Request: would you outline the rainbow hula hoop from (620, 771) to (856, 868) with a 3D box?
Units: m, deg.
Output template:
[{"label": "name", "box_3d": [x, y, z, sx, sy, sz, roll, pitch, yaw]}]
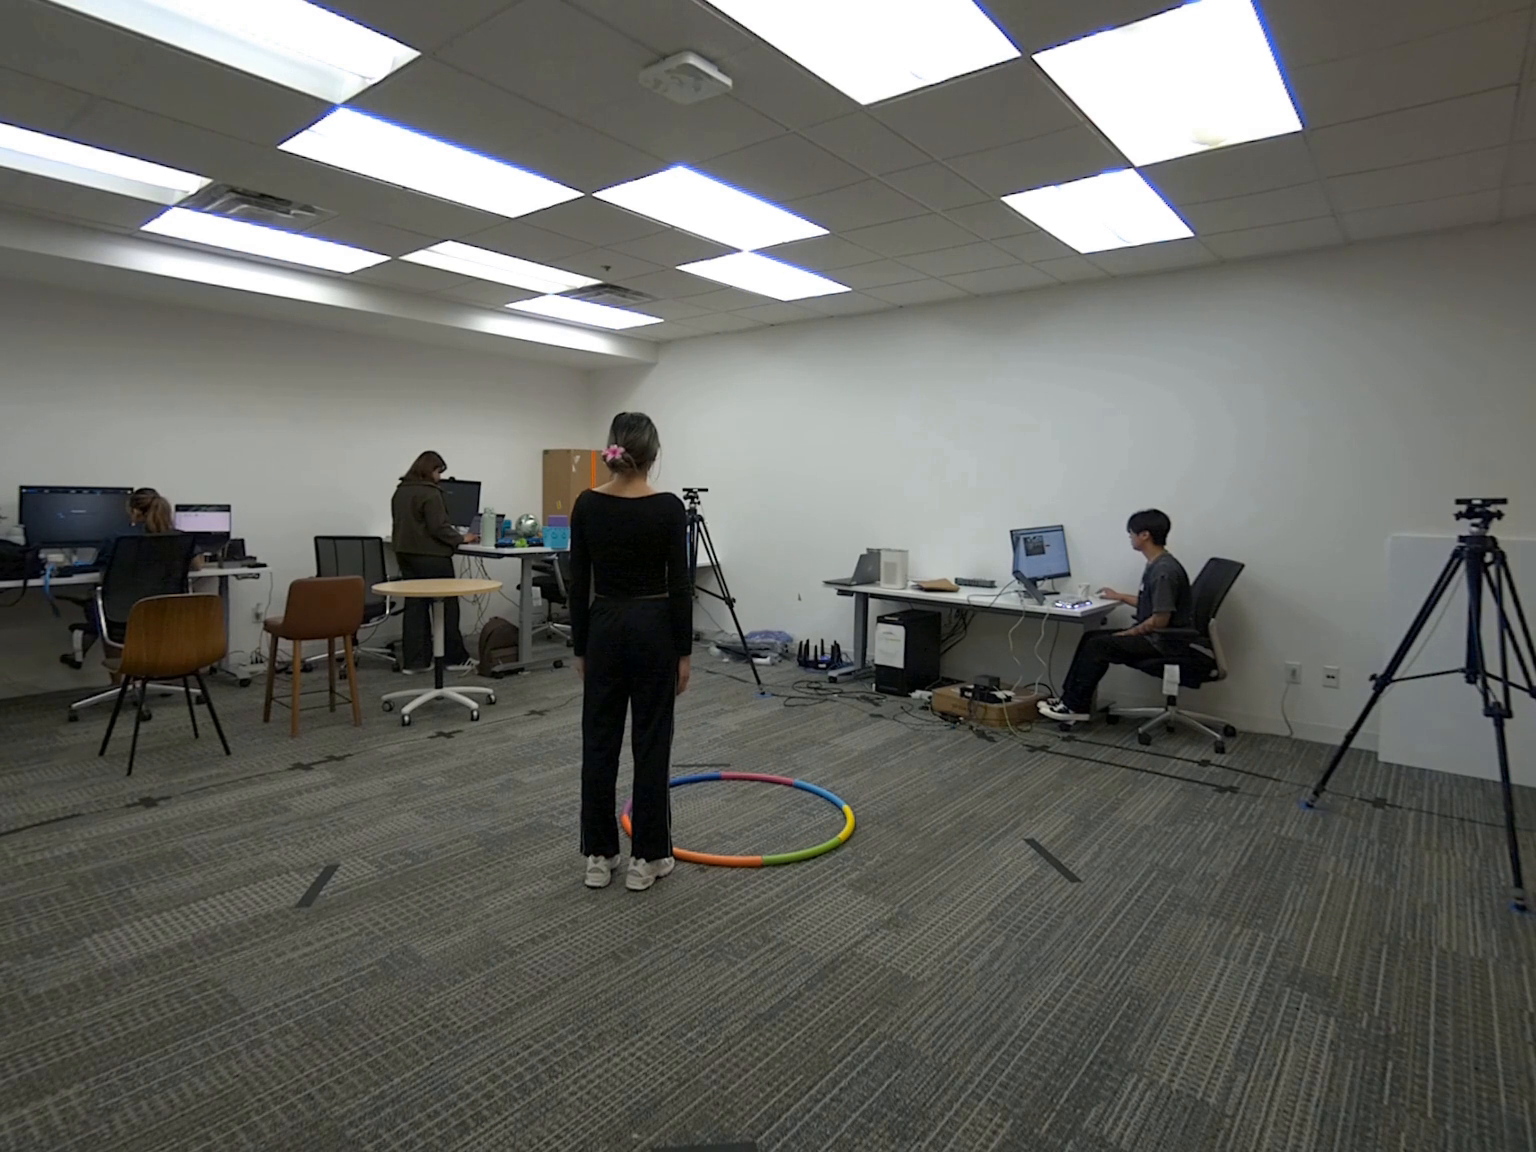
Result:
[{"label": "rainbow hula hoop", "box_3d": [-0.137, 0.991, 3.613, 0.978, 0.035, 0.984, 1, 6, -2]}]
